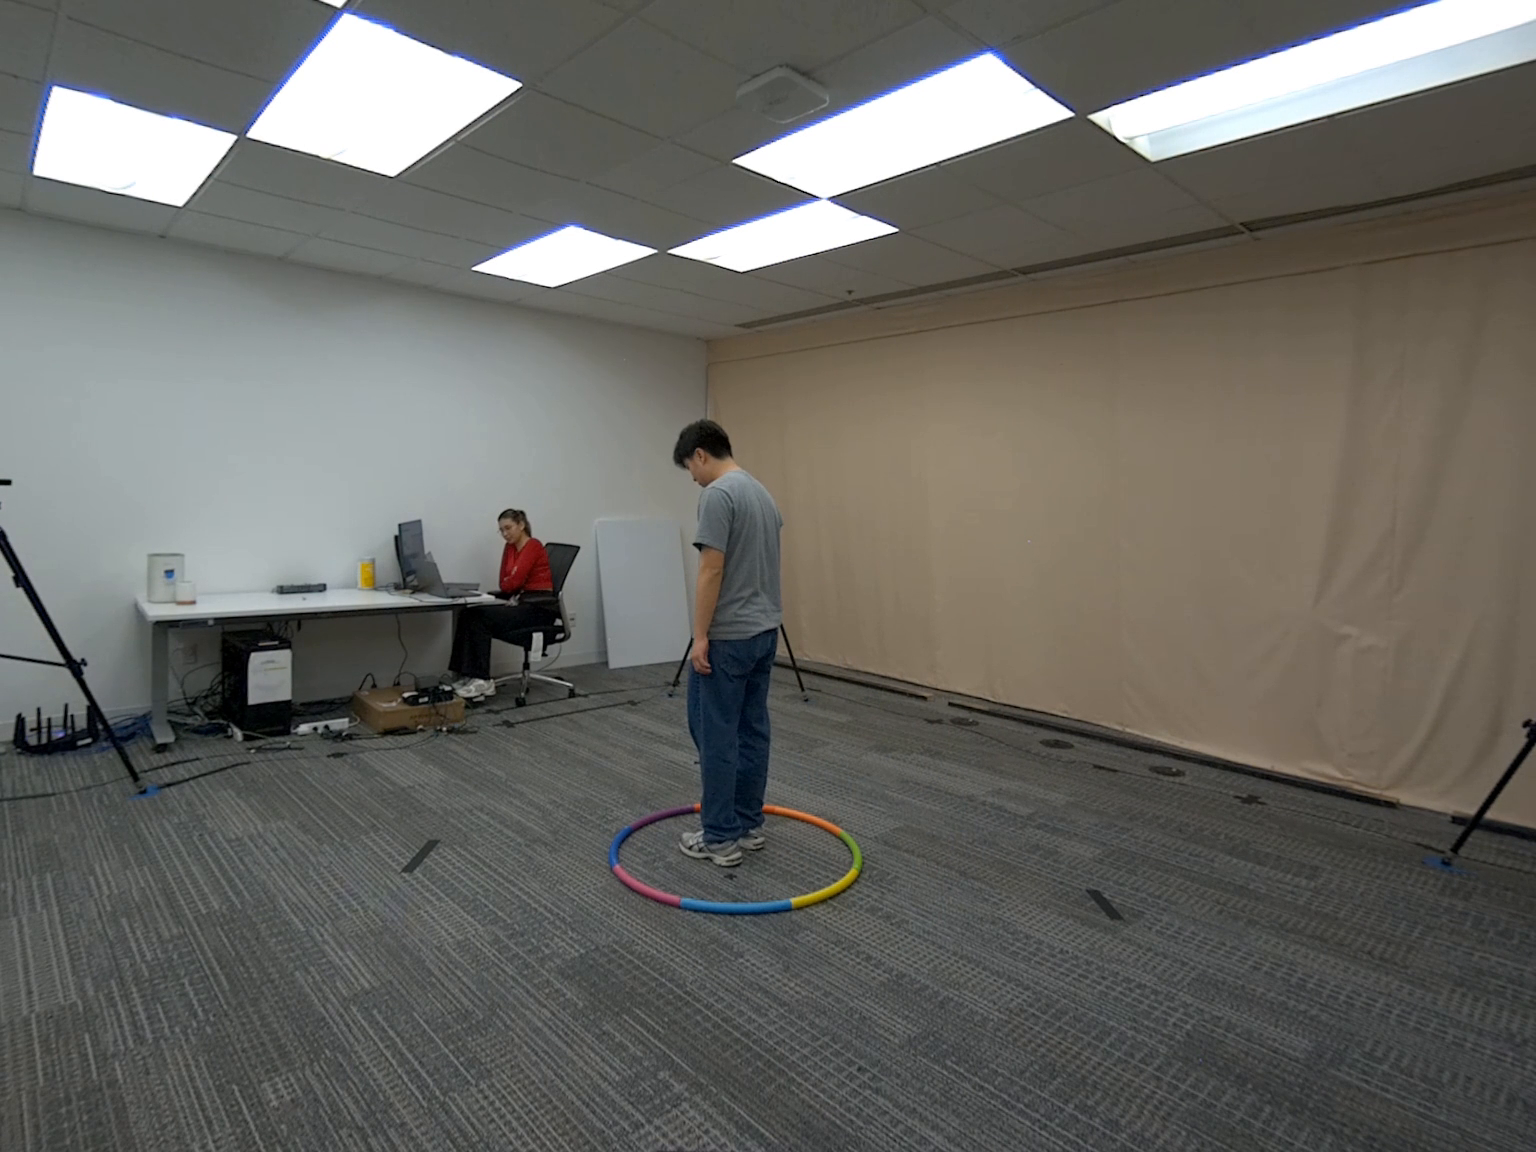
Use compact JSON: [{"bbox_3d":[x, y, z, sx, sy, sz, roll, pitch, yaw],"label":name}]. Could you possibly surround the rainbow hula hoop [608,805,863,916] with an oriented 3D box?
[{"bbox_3d":[-0.140,1.059,3.301,0.978,0.035,0.982,1,5,-1],"label":"rainbow hula hoop"}]
